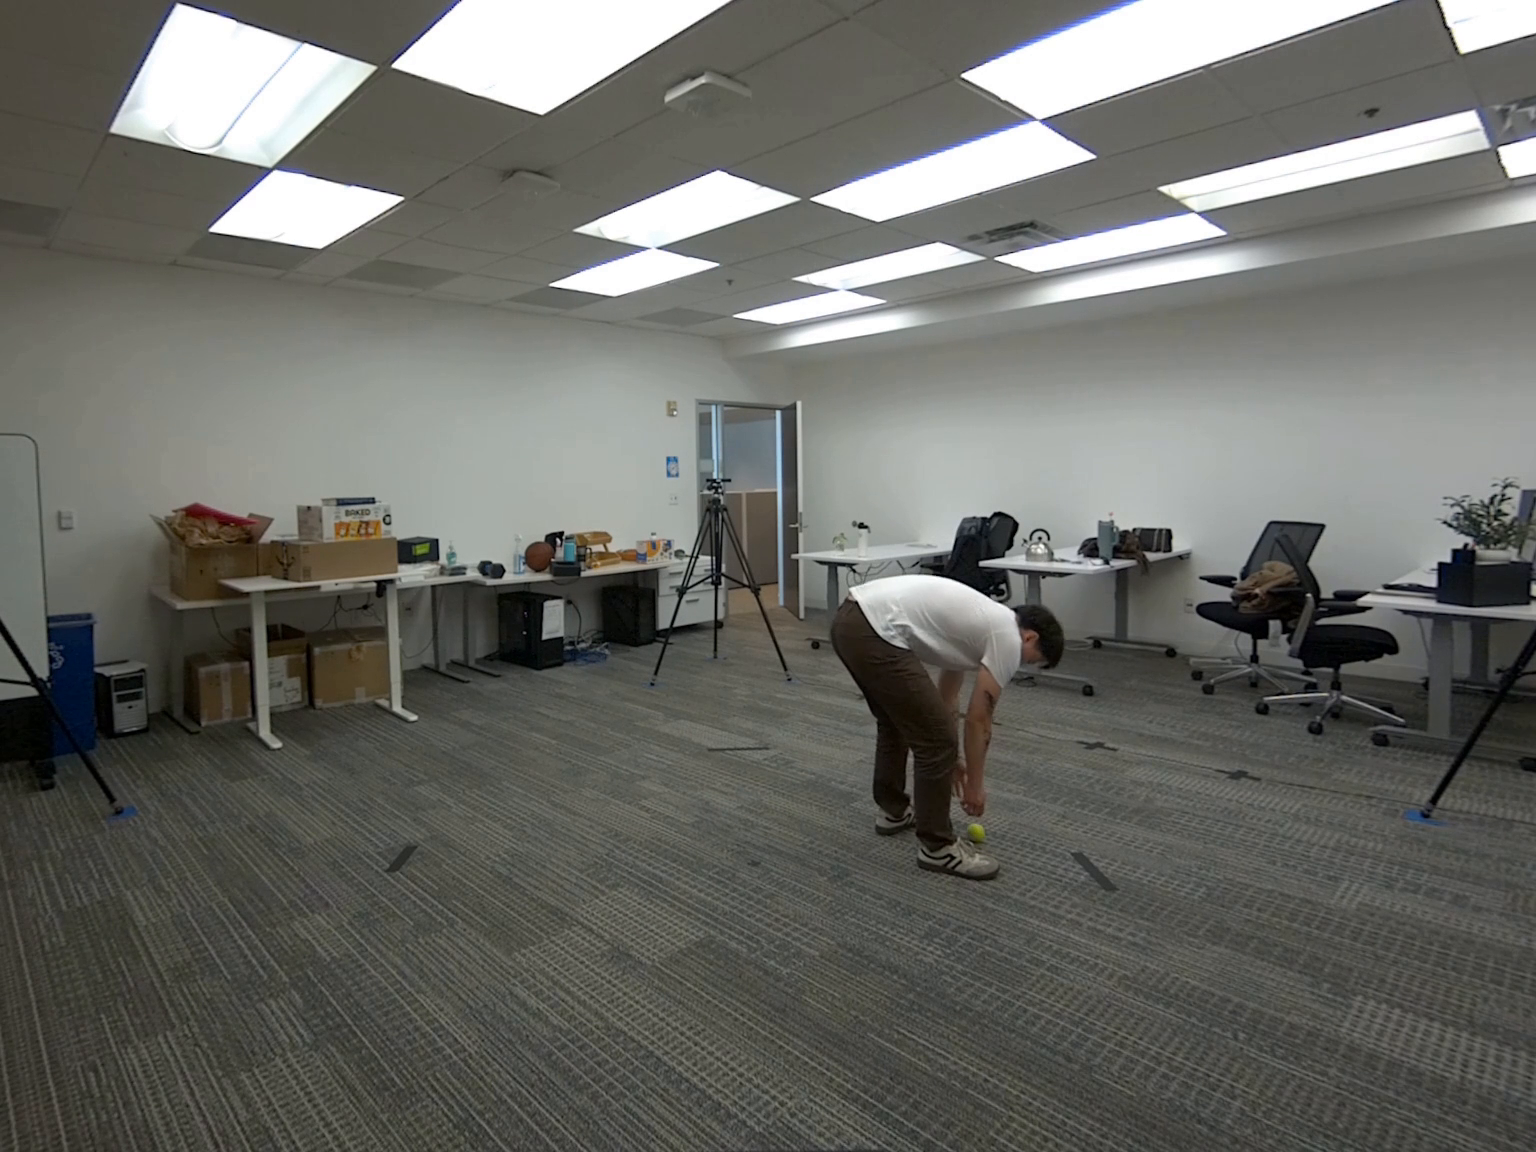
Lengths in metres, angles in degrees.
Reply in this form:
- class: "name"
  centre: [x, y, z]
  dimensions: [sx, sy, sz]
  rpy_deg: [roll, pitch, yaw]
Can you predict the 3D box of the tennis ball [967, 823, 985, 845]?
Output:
- class: "tennis ball"
  centre: [0.789, 0.969, 3.258]
  dimensions: [0.066, 0.066, 0.067]
  rpy_deg: [-1, 5, -2]
